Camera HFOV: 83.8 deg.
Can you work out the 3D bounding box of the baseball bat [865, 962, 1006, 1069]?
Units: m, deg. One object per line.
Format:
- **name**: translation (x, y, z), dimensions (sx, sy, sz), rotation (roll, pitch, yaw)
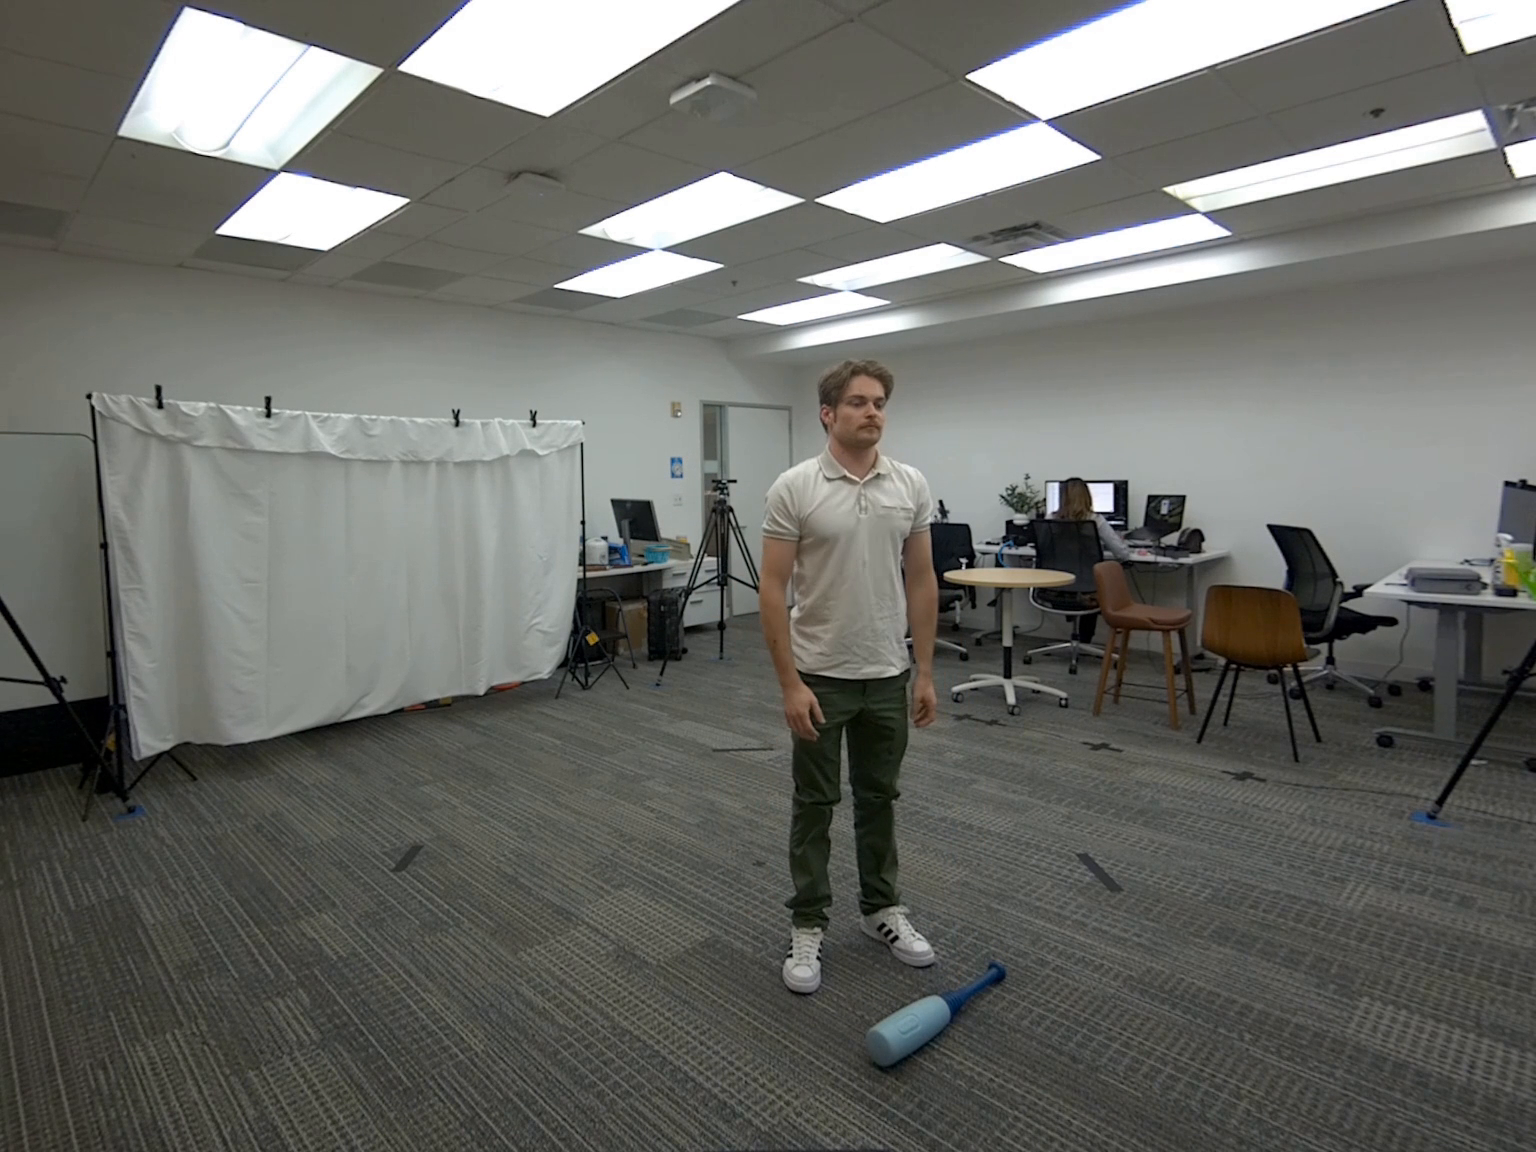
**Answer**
- **baseball bat**: translation (0.457, 1.112, 2.185), dimensions (0.528, 0.089, 0.092), rotation (-3, 5, -41)
